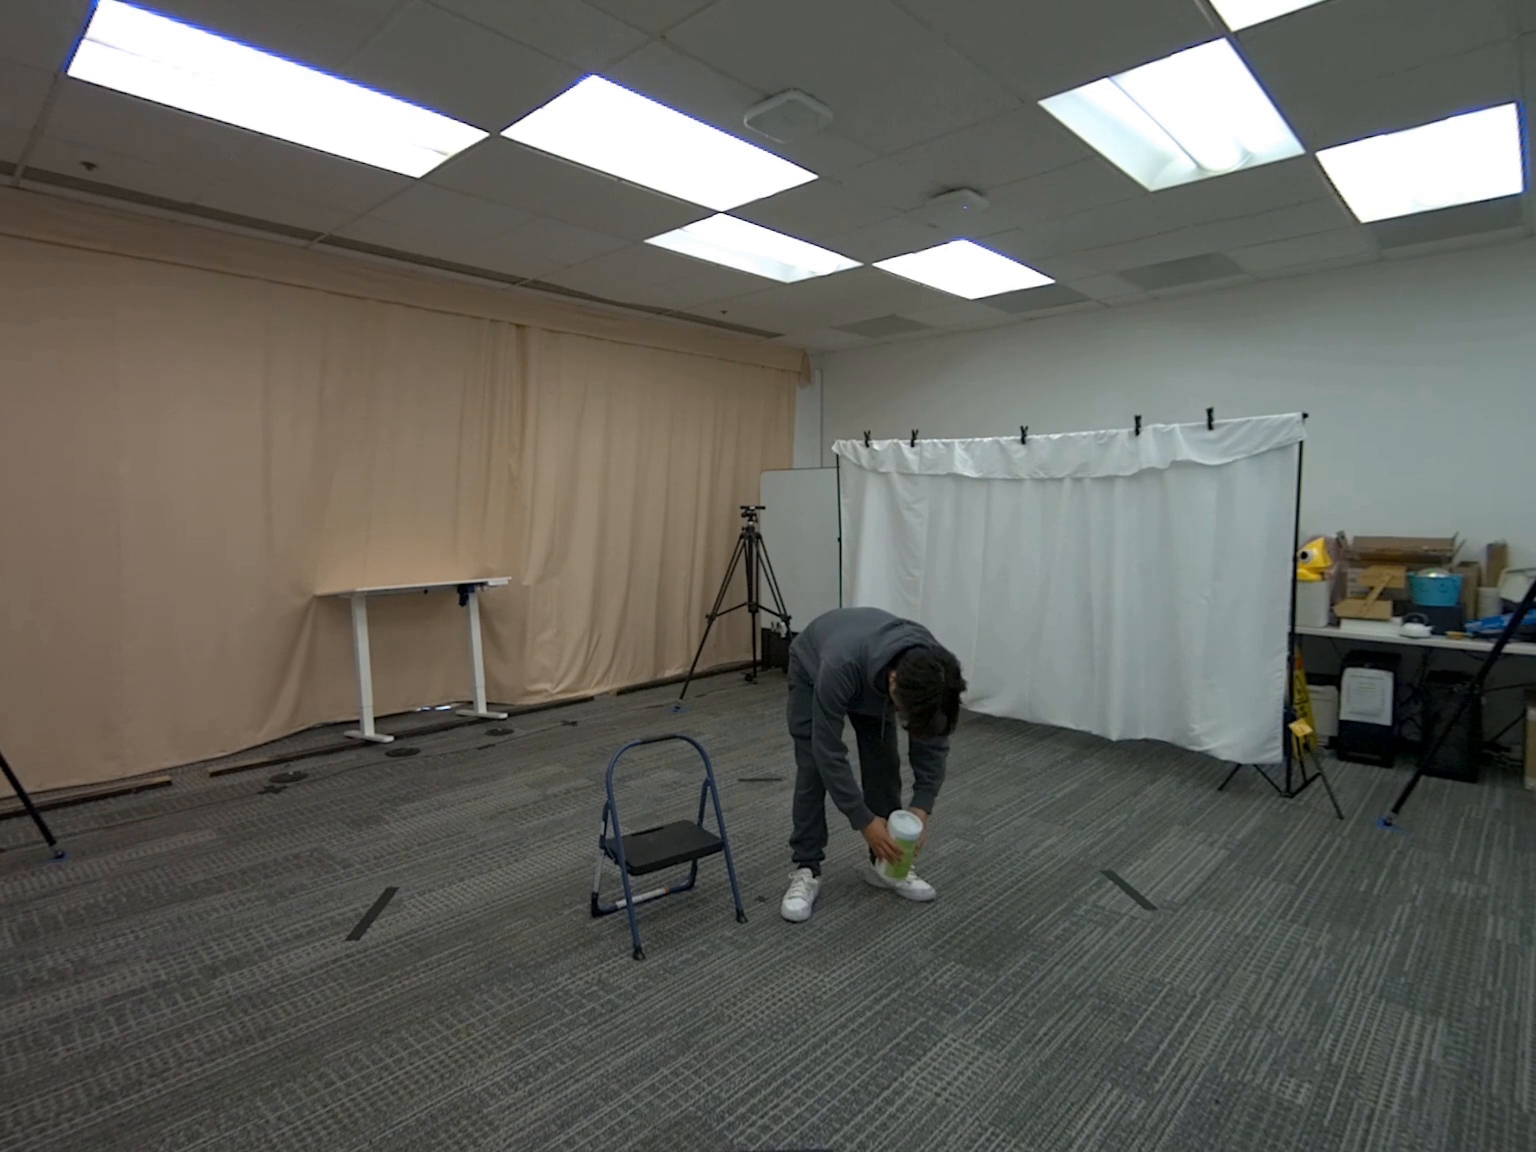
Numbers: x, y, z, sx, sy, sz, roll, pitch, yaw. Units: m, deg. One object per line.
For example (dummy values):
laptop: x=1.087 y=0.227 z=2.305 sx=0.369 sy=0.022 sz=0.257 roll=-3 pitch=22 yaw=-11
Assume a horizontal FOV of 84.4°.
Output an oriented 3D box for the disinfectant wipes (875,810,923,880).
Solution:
disinfectant wipes: x=0.426 y=0.871 z=2.732 sx=0.117 sy=0.215 sz=0.119 roll=9 pitch=25 yaw=-6
